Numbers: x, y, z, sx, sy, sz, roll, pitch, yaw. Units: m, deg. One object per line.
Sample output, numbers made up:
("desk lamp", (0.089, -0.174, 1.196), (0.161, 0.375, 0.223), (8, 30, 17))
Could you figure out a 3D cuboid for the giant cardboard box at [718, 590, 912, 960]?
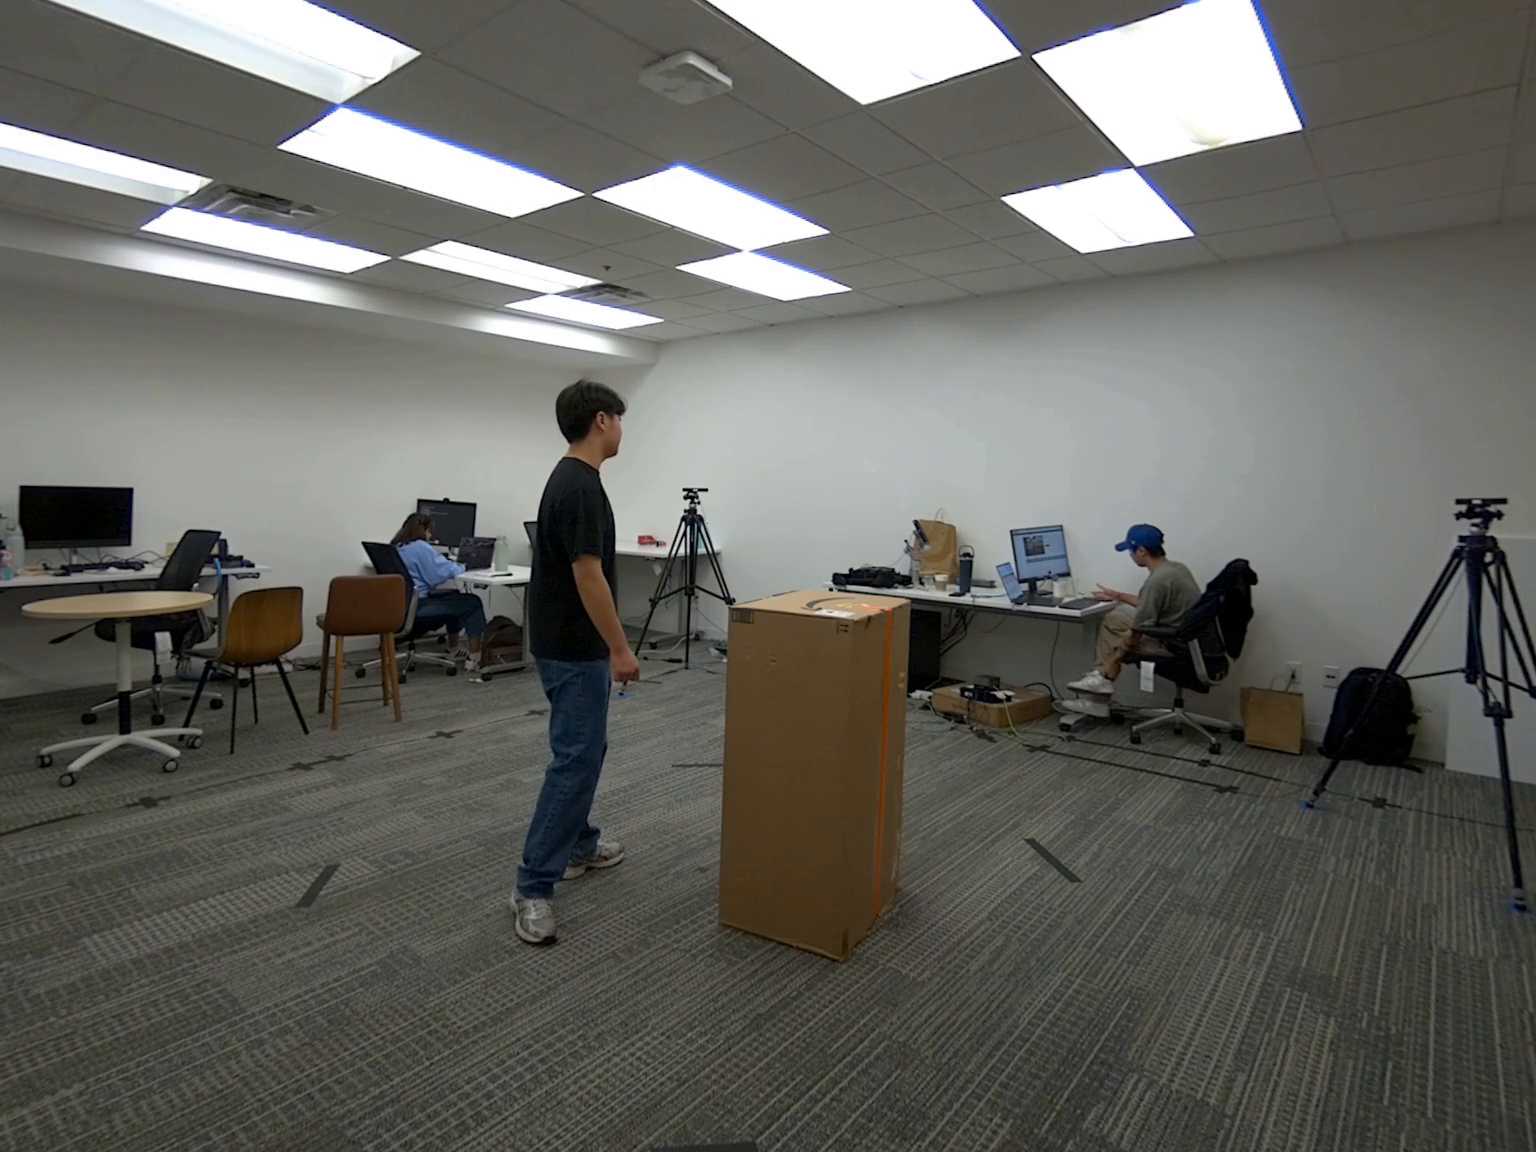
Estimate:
("giant cardboard box", (0.163, 0.594, 2.833), (0.460, 1.024, 0.569), (4, 4, 29))
